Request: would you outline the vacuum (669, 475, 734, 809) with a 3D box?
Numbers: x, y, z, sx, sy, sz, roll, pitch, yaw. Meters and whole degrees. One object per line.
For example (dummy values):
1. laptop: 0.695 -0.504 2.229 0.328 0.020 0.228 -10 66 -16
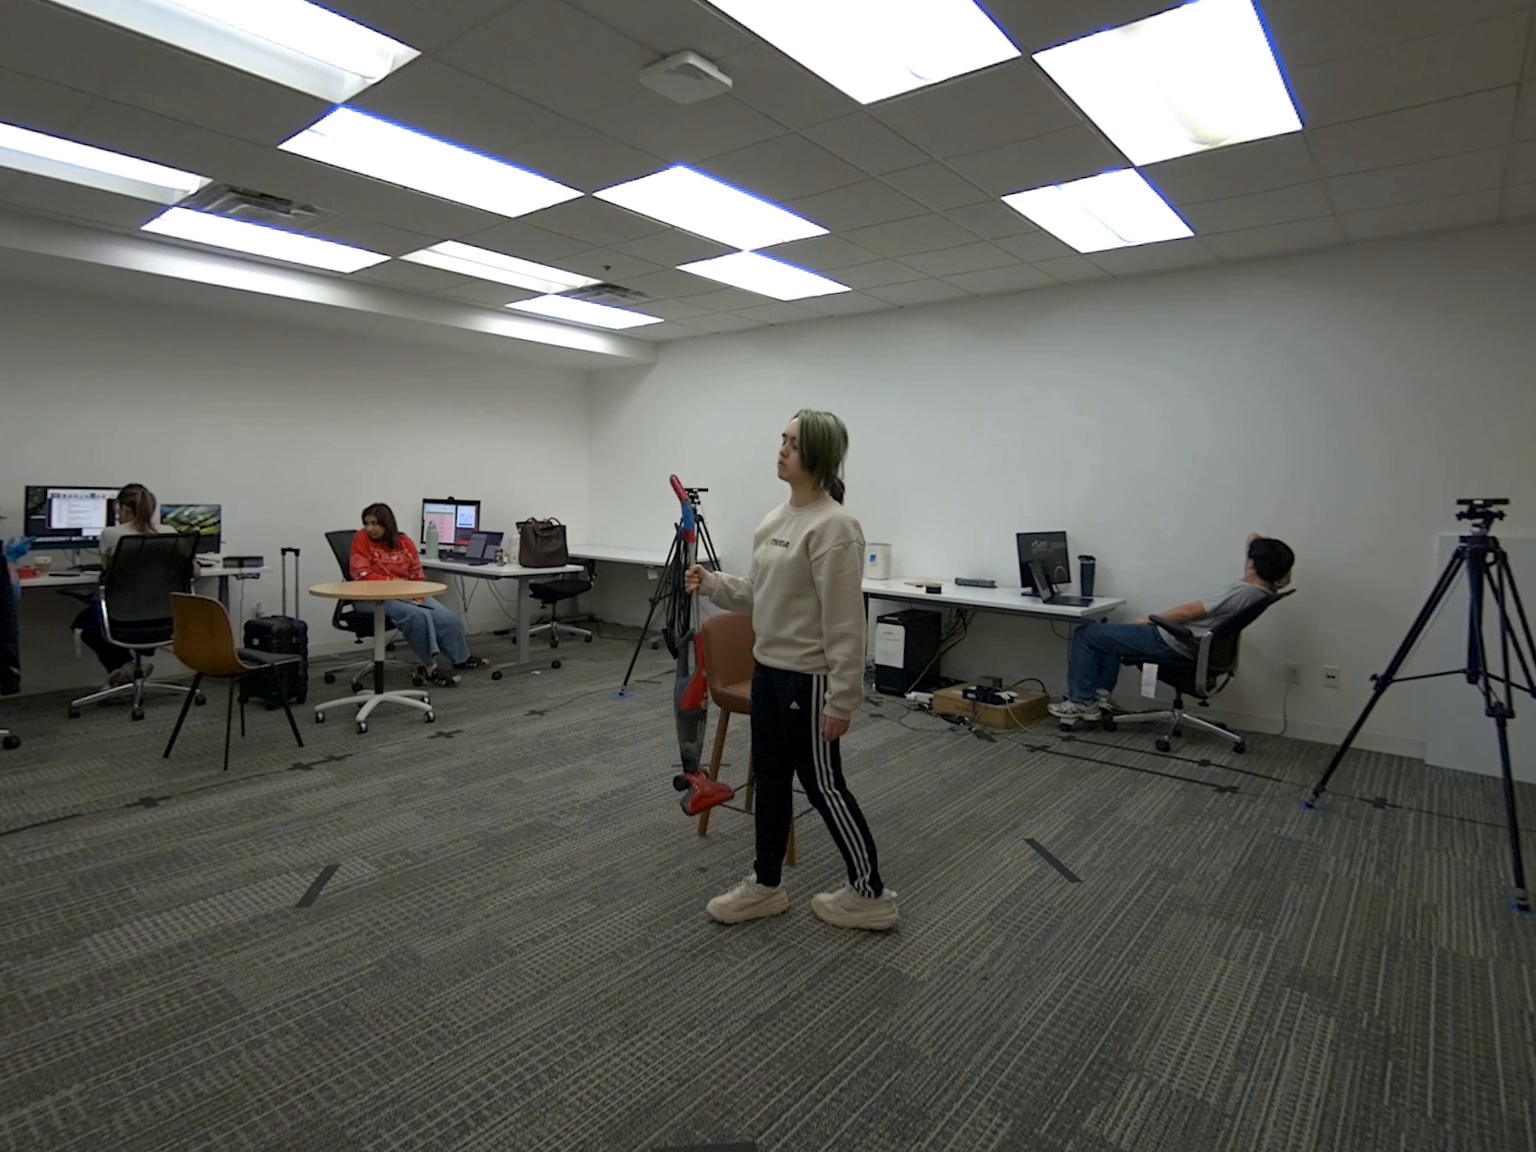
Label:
1. vacuum: -0.283 0.188 2.852 0.148 1.055 0.245 -11 -7 44
